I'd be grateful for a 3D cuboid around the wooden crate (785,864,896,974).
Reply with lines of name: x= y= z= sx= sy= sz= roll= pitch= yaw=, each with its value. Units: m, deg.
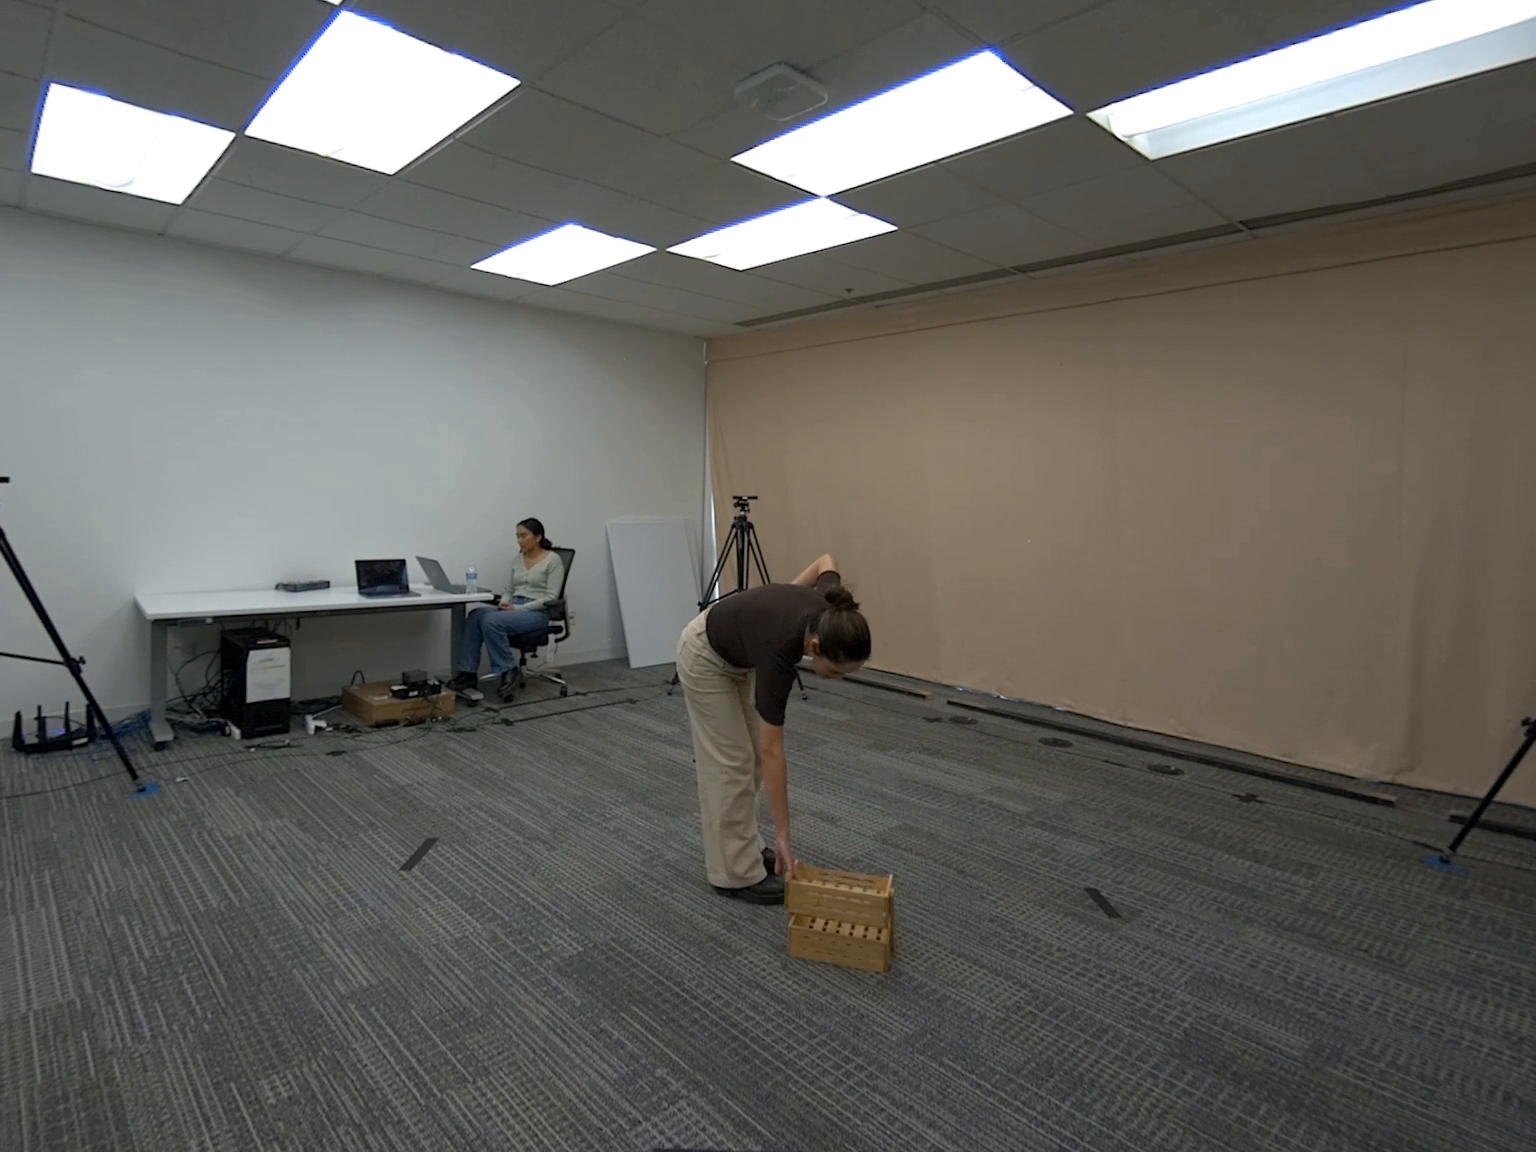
wooden crate: x=0.223 y=1.023 z=2.609 sx=0.328 sy=0.272 sz=0.299 roll=2 pitch=6 yaw=14
